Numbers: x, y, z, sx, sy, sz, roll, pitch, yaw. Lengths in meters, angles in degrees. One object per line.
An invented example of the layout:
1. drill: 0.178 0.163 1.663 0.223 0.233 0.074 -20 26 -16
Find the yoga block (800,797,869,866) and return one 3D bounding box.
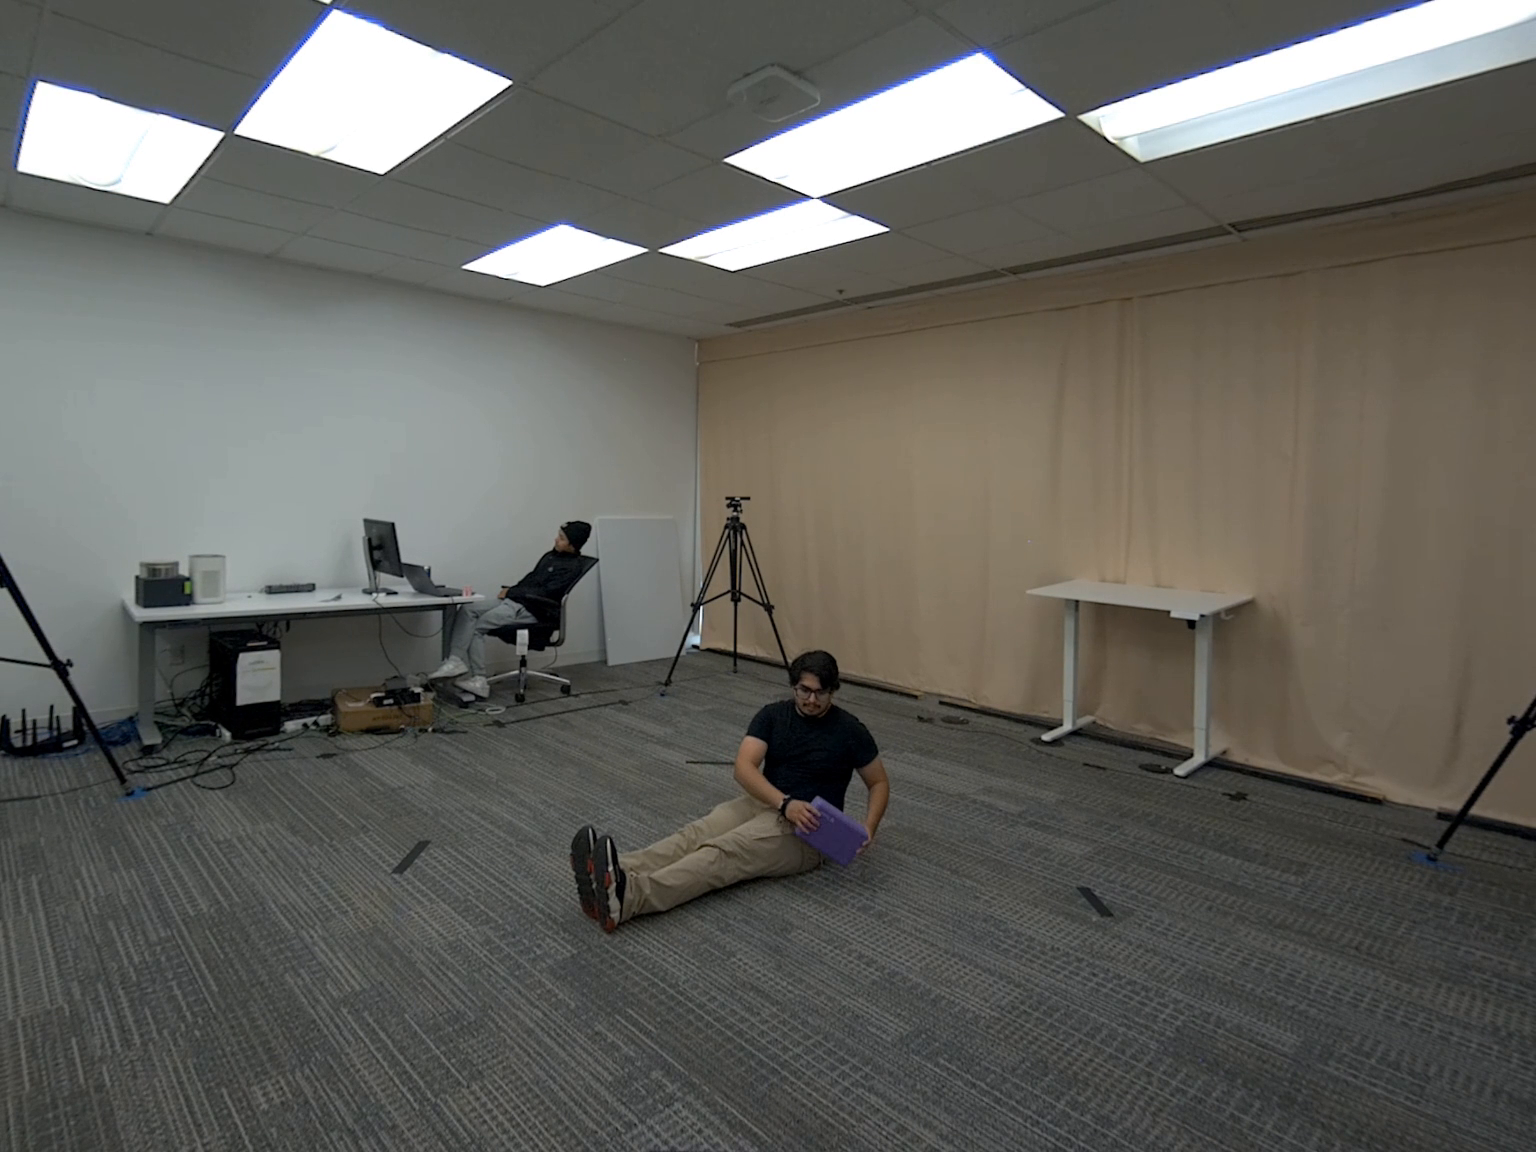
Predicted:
1. yoga block: 0.213 0.924 3.052 0.228 0.149 0.077 35 11 -3
